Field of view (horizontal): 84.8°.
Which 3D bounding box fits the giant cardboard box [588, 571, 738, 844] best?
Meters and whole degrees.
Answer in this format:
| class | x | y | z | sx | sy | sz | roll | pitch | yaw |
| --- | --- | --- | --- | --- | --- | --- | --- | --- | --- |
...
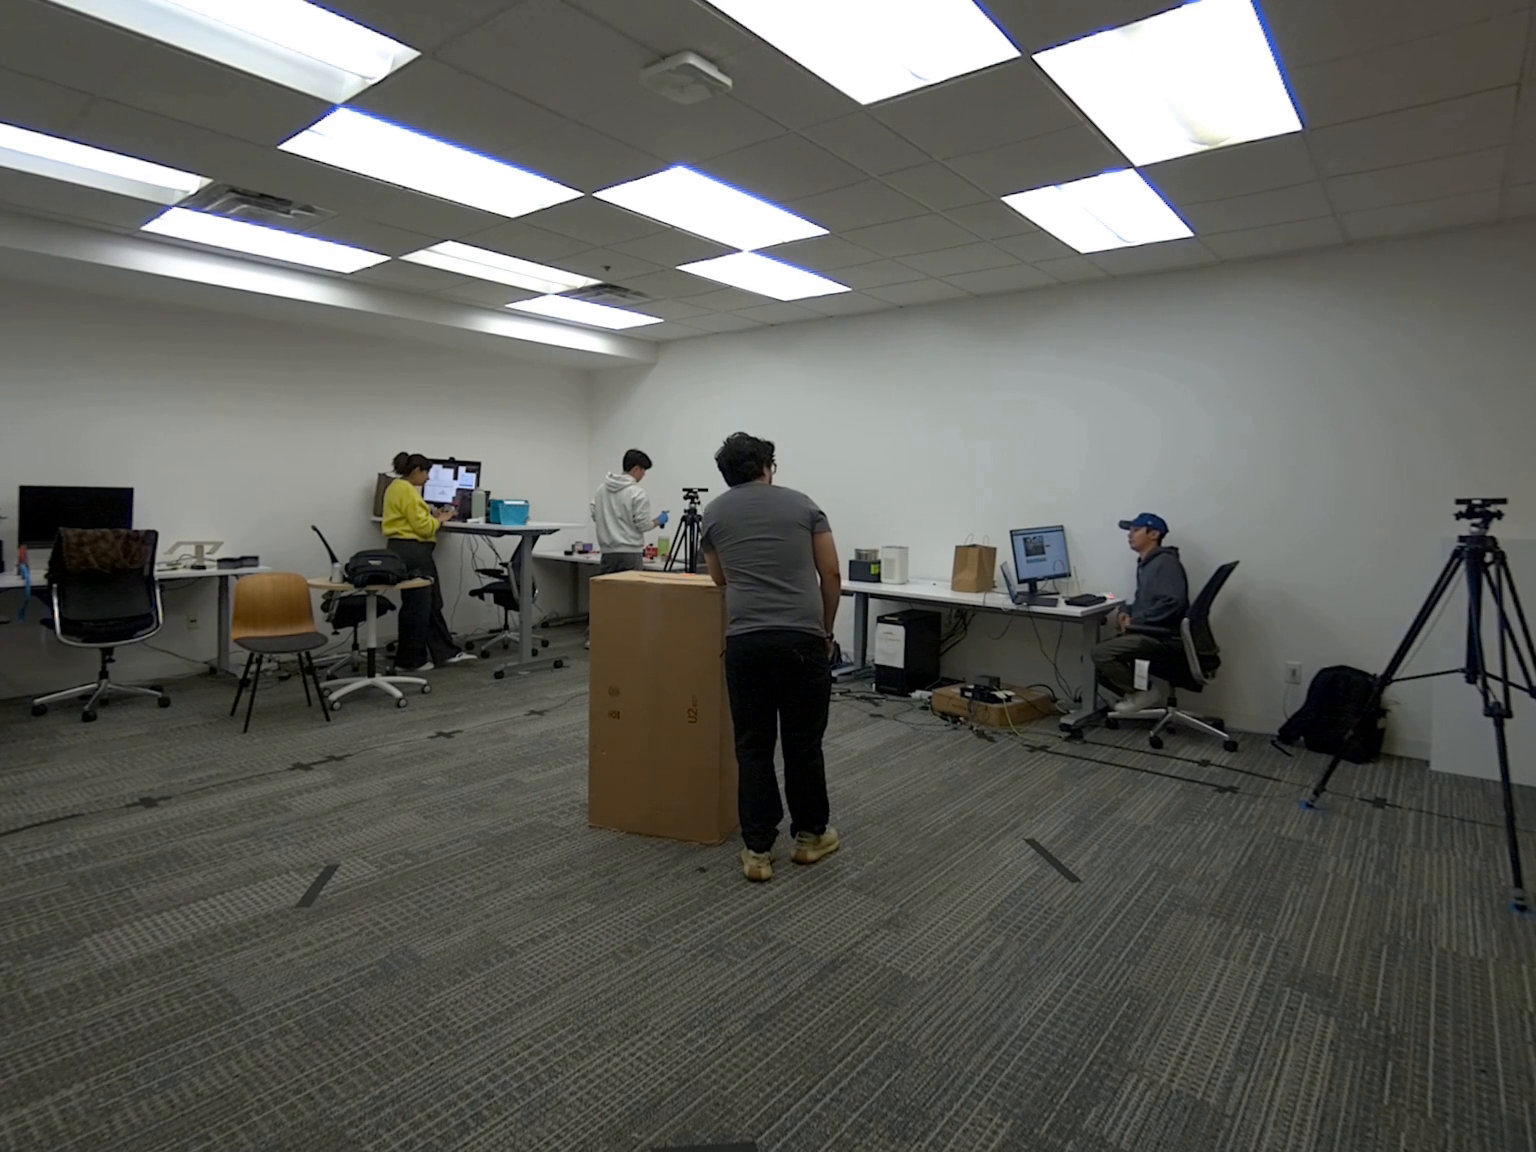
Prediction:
| class | x | y | z | sx | sy | sz | roll | pitch | yaw |
| --- | --- | --- | --- | --- | --- | --- | --- | --- | --- |
| giant cardboard box | -0.415 | 0.513 | 3.582 | 0.590 | 1.023 | 0.418 | 2 | 3 | 19 |
